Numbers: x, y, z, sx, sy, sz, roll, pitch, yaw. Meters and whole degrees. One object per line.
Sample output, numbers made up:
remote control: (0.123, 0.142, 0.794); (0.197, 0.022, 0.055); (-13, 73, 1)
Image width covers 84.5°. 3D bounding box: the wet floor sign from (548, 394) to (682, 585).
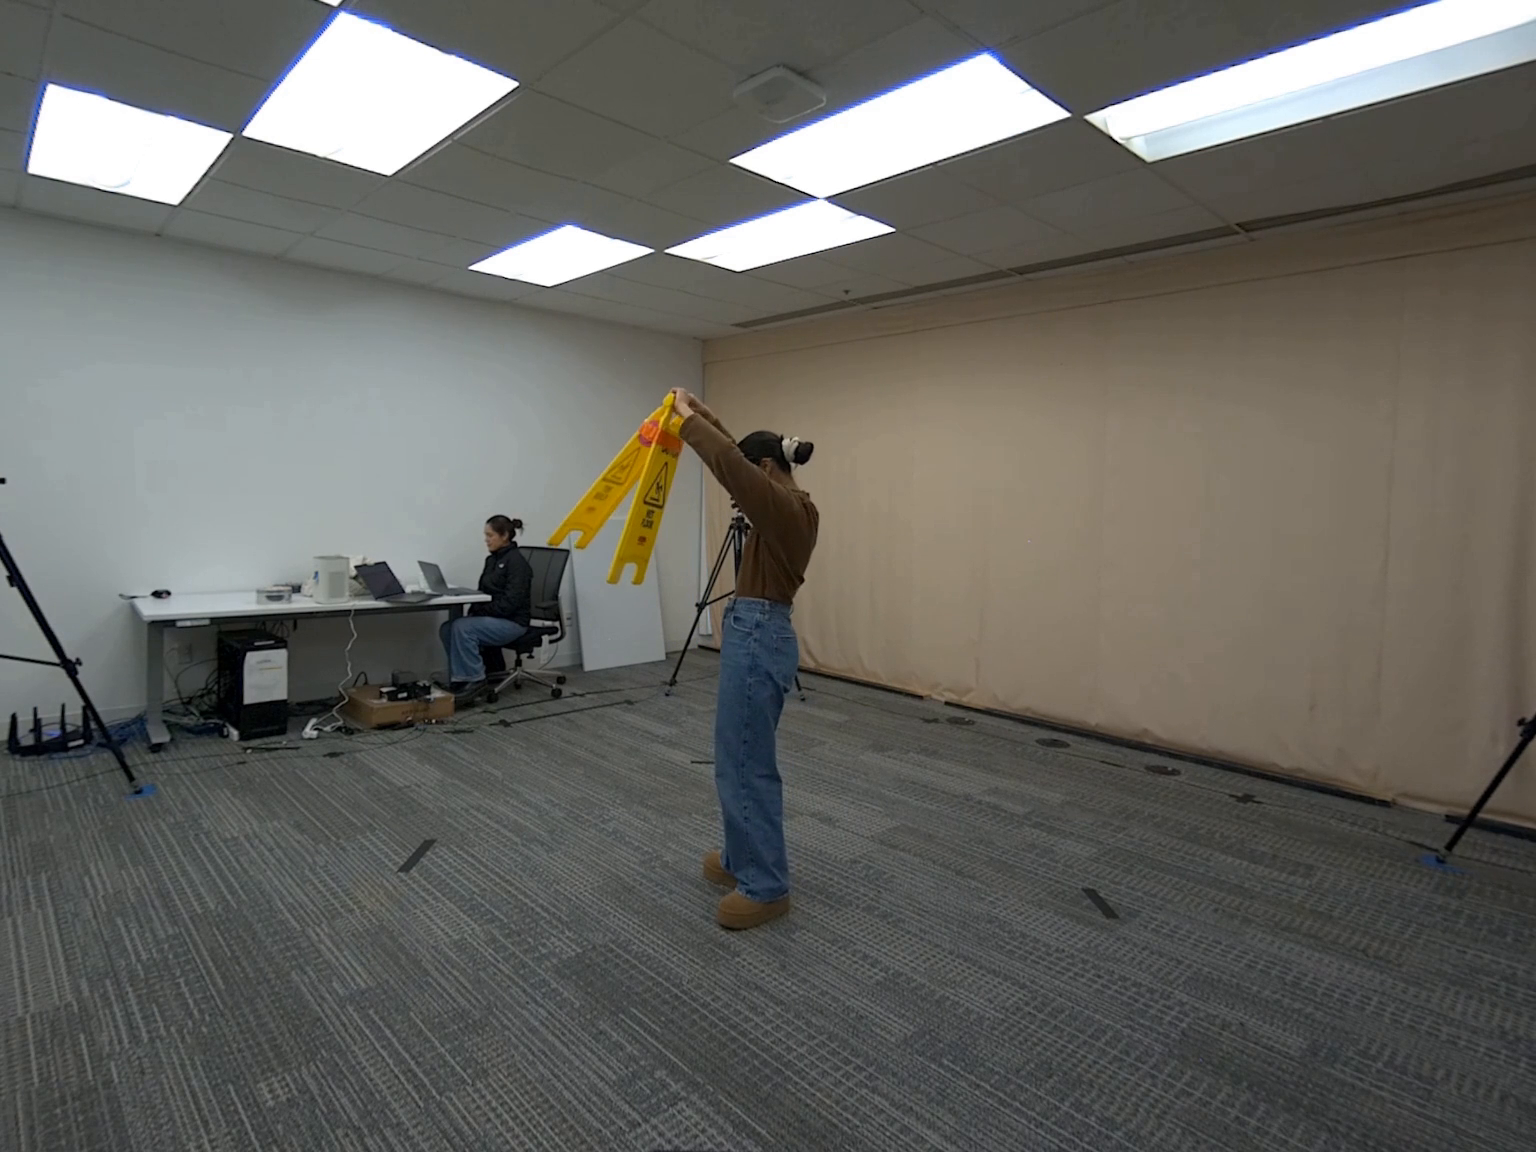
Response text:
wet floor sign: (-0.450, -0.314, 2.885); (0.294, 0.645, 0.278); (28, 3, 13)
